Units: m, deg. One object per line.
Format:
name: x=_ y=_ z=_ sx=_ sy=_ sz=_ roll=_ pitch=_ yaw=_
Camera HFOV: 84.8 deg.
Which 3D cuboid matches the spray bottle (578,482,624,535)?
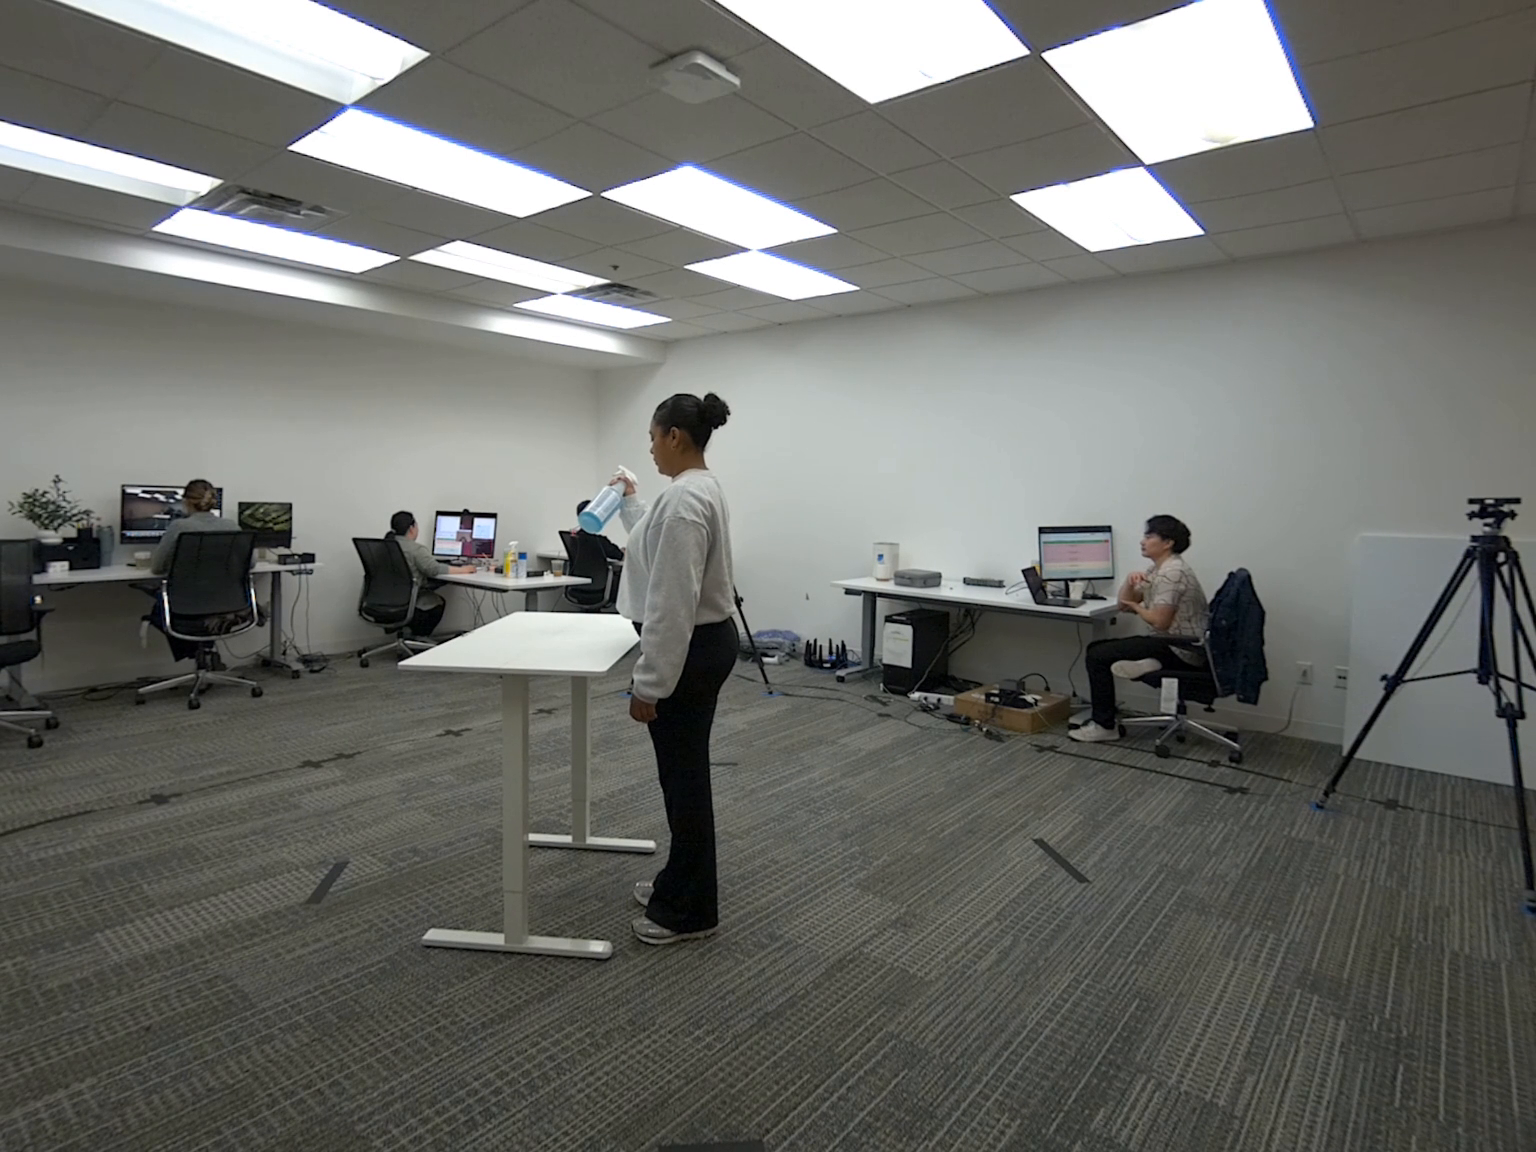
spray bottle: x=-0.542 y=-0.262 z=2.870 sx=0.092 sy=0.084 sz=0.300 roll=14 pitch=46 yaw=13
